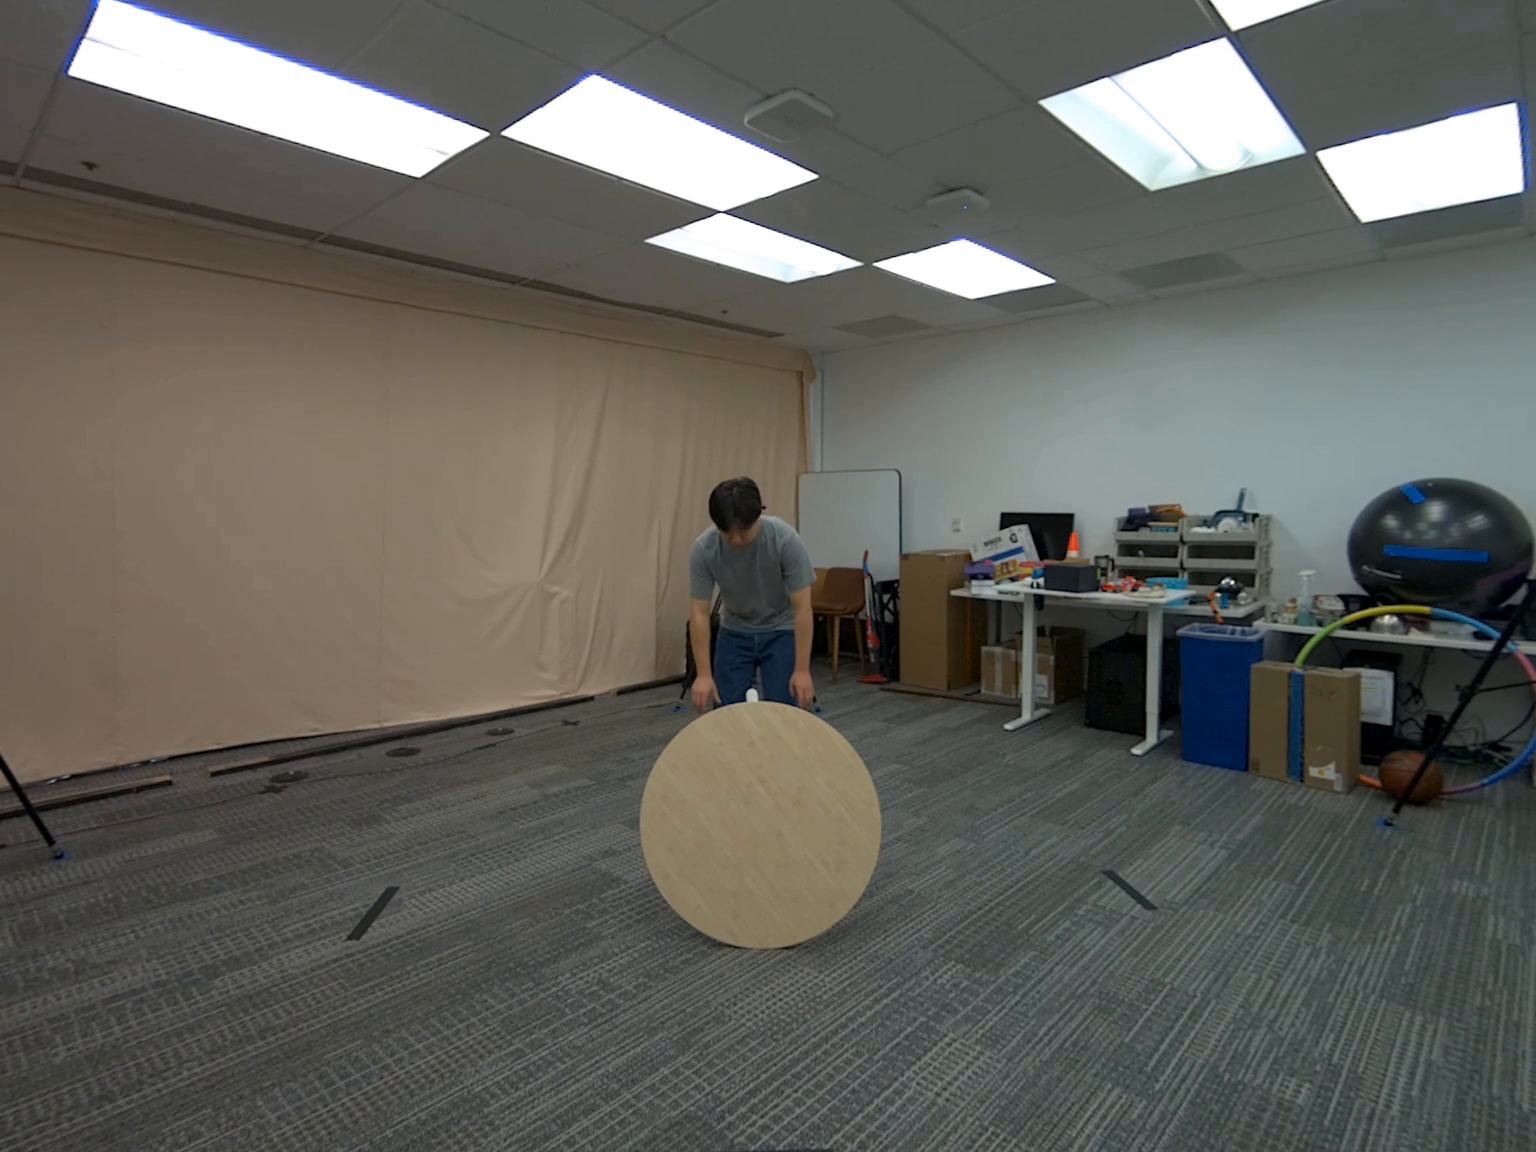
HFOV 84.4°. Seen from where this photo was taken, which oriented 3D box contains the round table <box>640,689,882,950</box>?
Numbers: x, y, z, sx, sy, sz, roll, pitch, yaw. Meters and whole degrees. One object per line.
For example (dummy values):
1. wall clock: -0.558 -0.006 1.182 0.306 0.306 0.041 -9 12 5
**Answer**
1. round table: -0.029 0.798 3.061 0.766 0.765 0.790 0 -3 1
